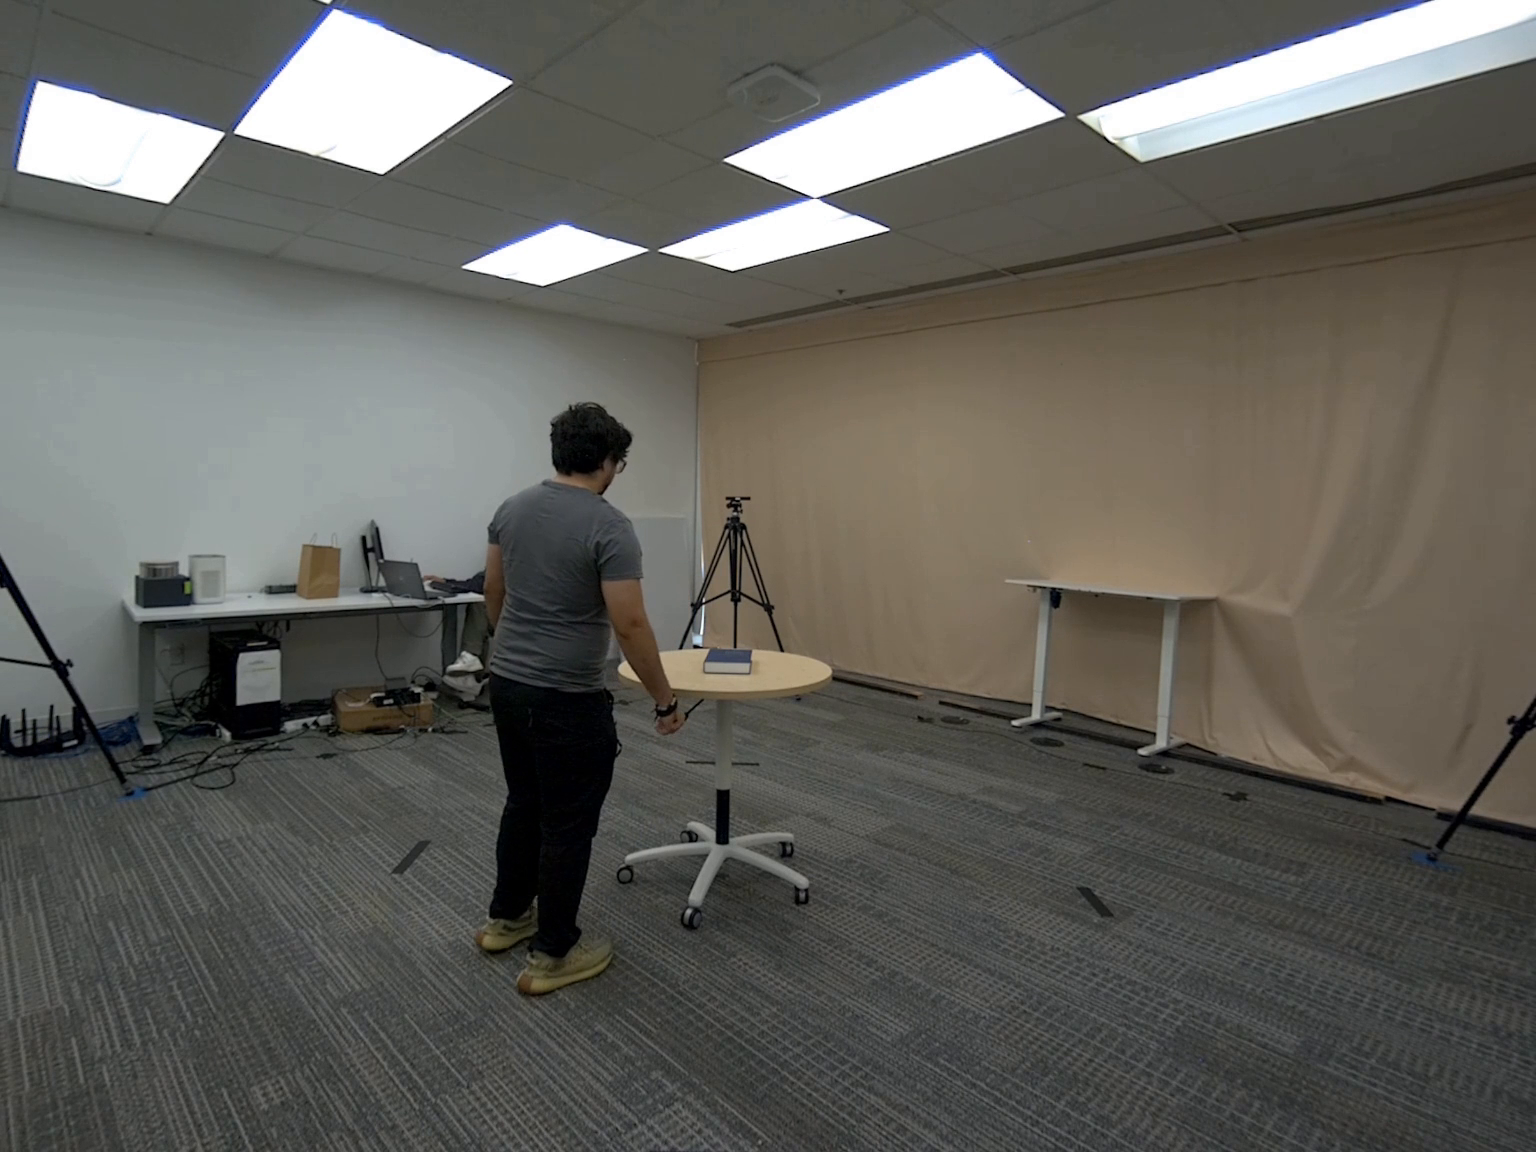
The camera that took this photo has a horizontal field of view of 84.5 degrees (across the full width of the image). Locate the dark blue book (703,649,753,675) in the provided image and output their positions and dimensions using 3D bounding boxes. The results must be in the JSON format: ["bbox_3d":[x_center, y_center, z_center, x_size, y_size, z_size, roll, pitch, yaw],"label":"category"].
[{"bbox_3d":[-0.152,0.310,3.032,0.163,0.045,0.245,2,5,1],"label":"dark blue book"}]
